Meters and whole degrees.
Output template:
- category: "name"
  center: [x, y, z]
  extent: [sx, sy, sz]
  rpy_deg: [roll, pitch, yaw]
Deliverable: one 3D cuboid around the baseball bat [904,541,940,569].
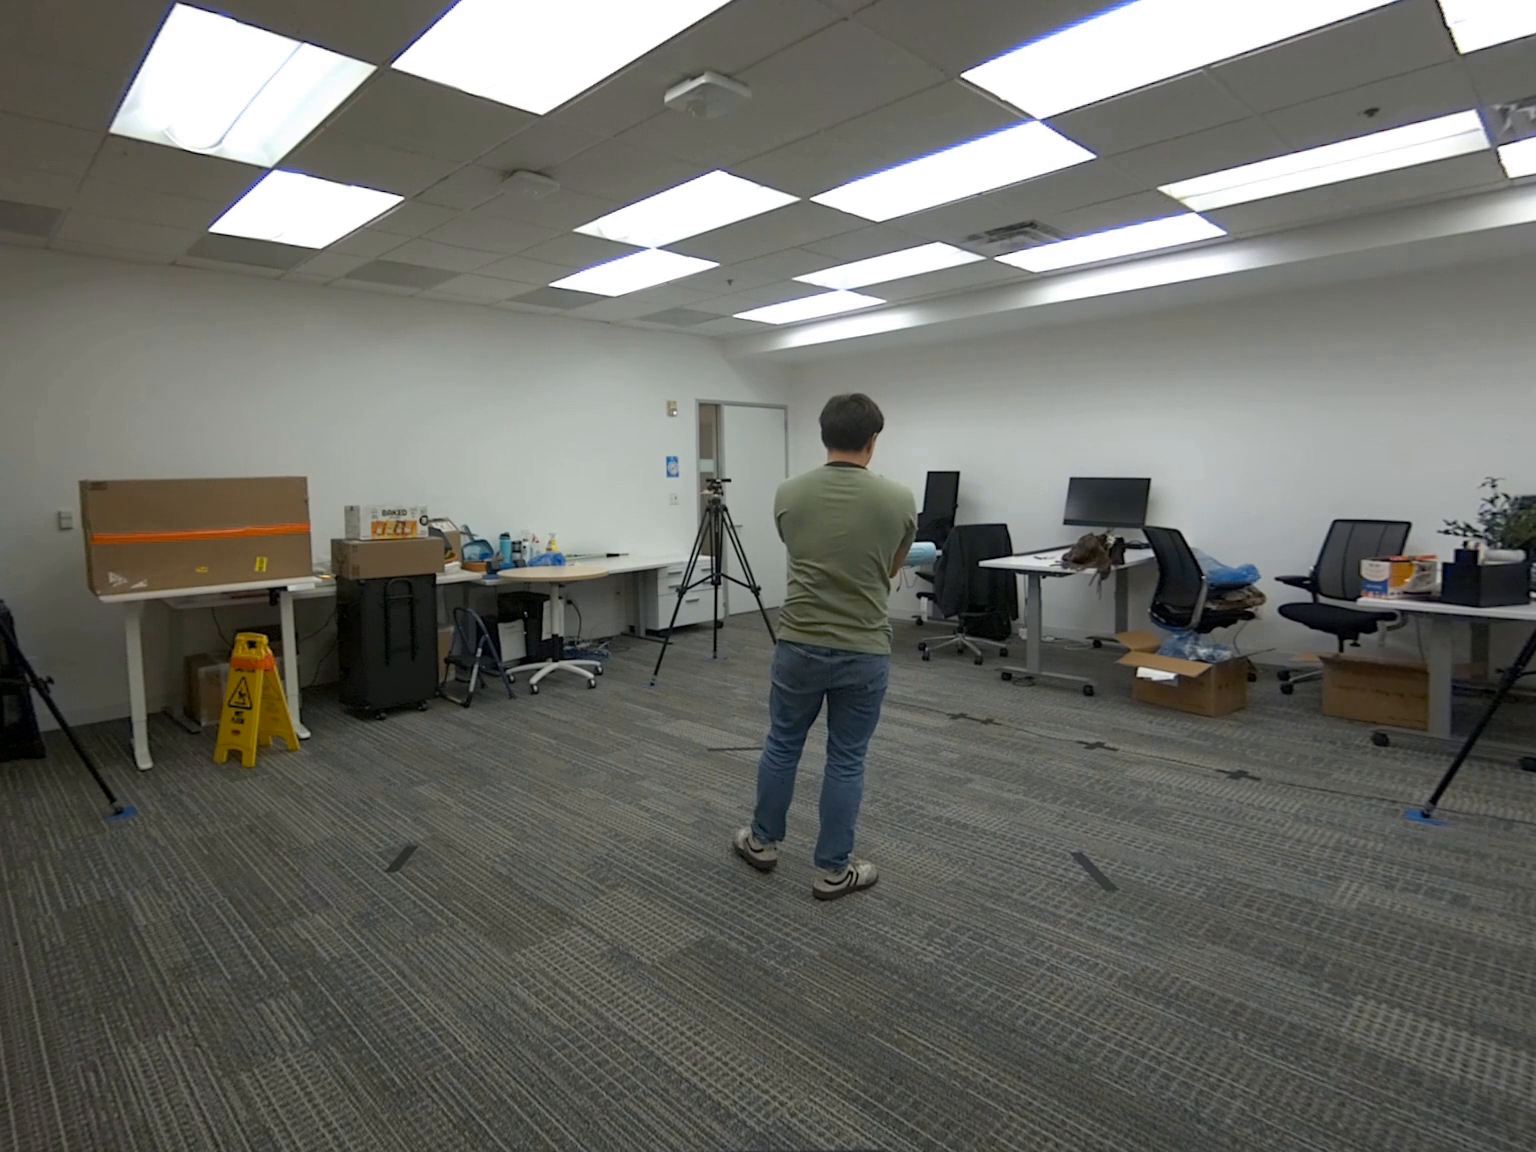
- category: "baseball bat"
  center: [0.376, -0.067, 3.277]
  extent: [0.542, 0.089, 0.089]
  rpy_deg: [-5, 5, -2]
